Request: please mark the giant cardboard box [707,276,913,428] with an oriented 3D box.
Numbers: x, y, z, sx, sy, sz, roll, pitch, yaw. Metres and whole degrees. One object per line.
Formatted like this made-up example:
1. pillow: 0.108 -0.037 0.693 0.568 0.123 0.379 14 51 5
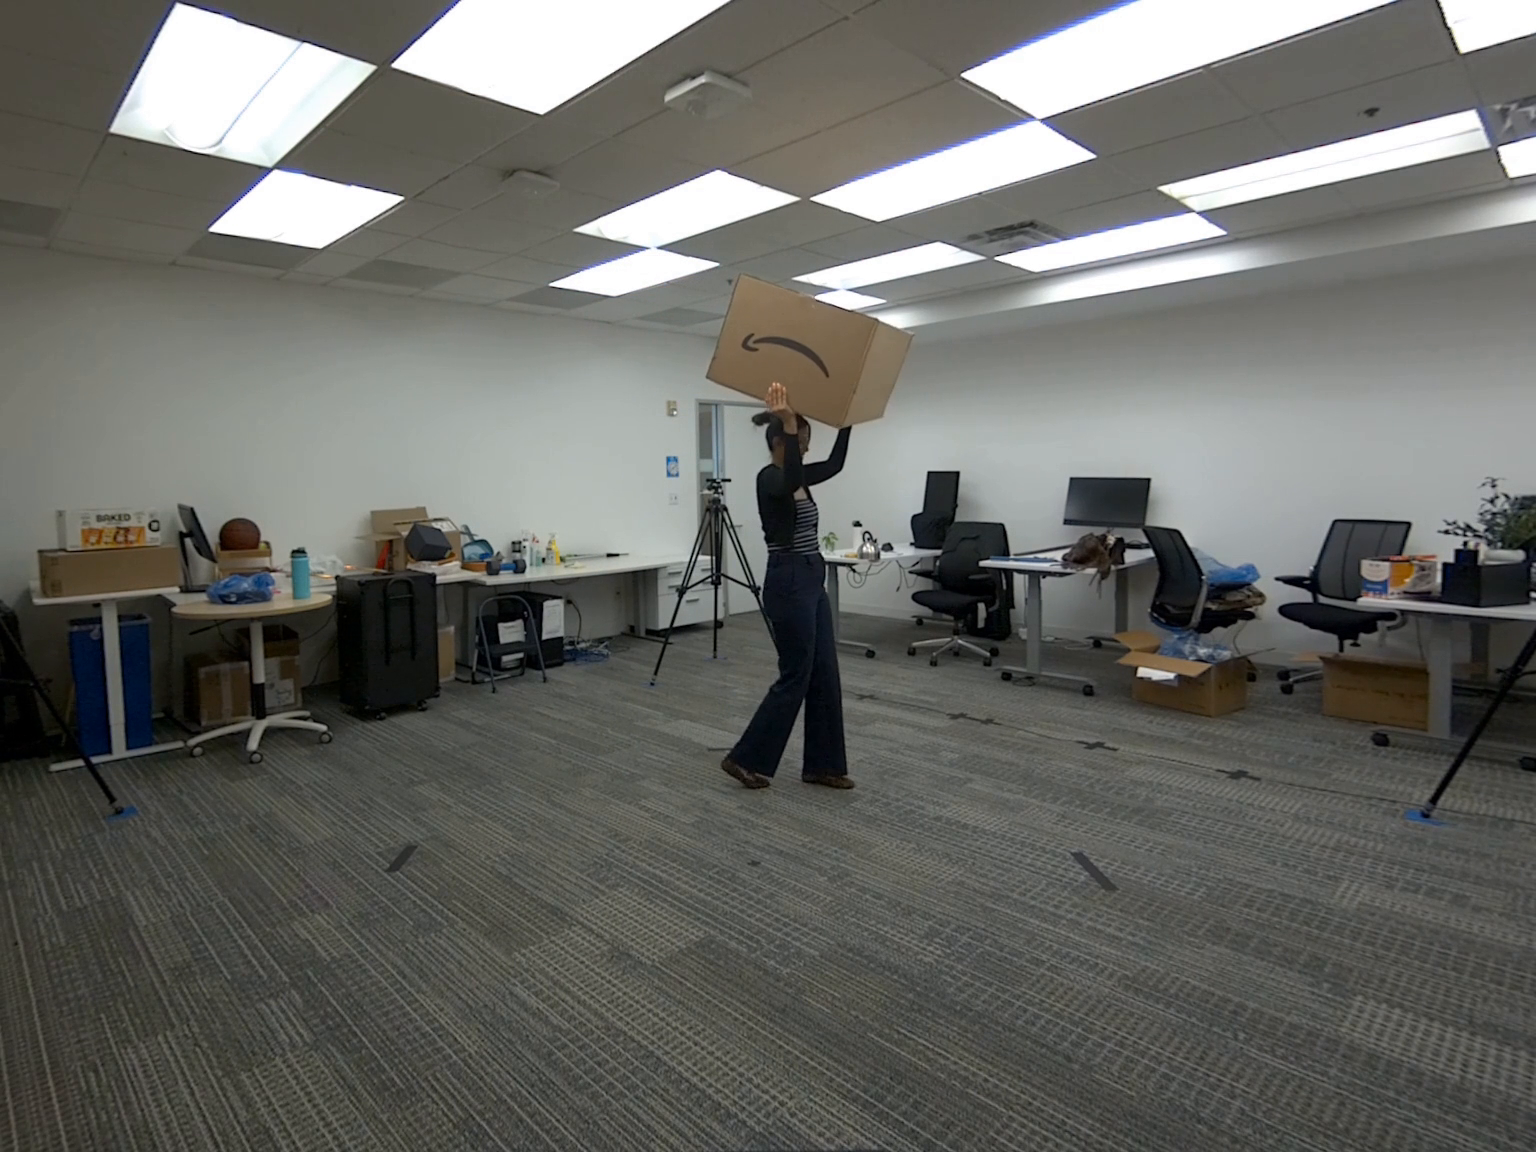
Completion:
1. giant cardboard box: 0.218 -0.956 3.707 0.588 0.422 1.017 23 18 13
